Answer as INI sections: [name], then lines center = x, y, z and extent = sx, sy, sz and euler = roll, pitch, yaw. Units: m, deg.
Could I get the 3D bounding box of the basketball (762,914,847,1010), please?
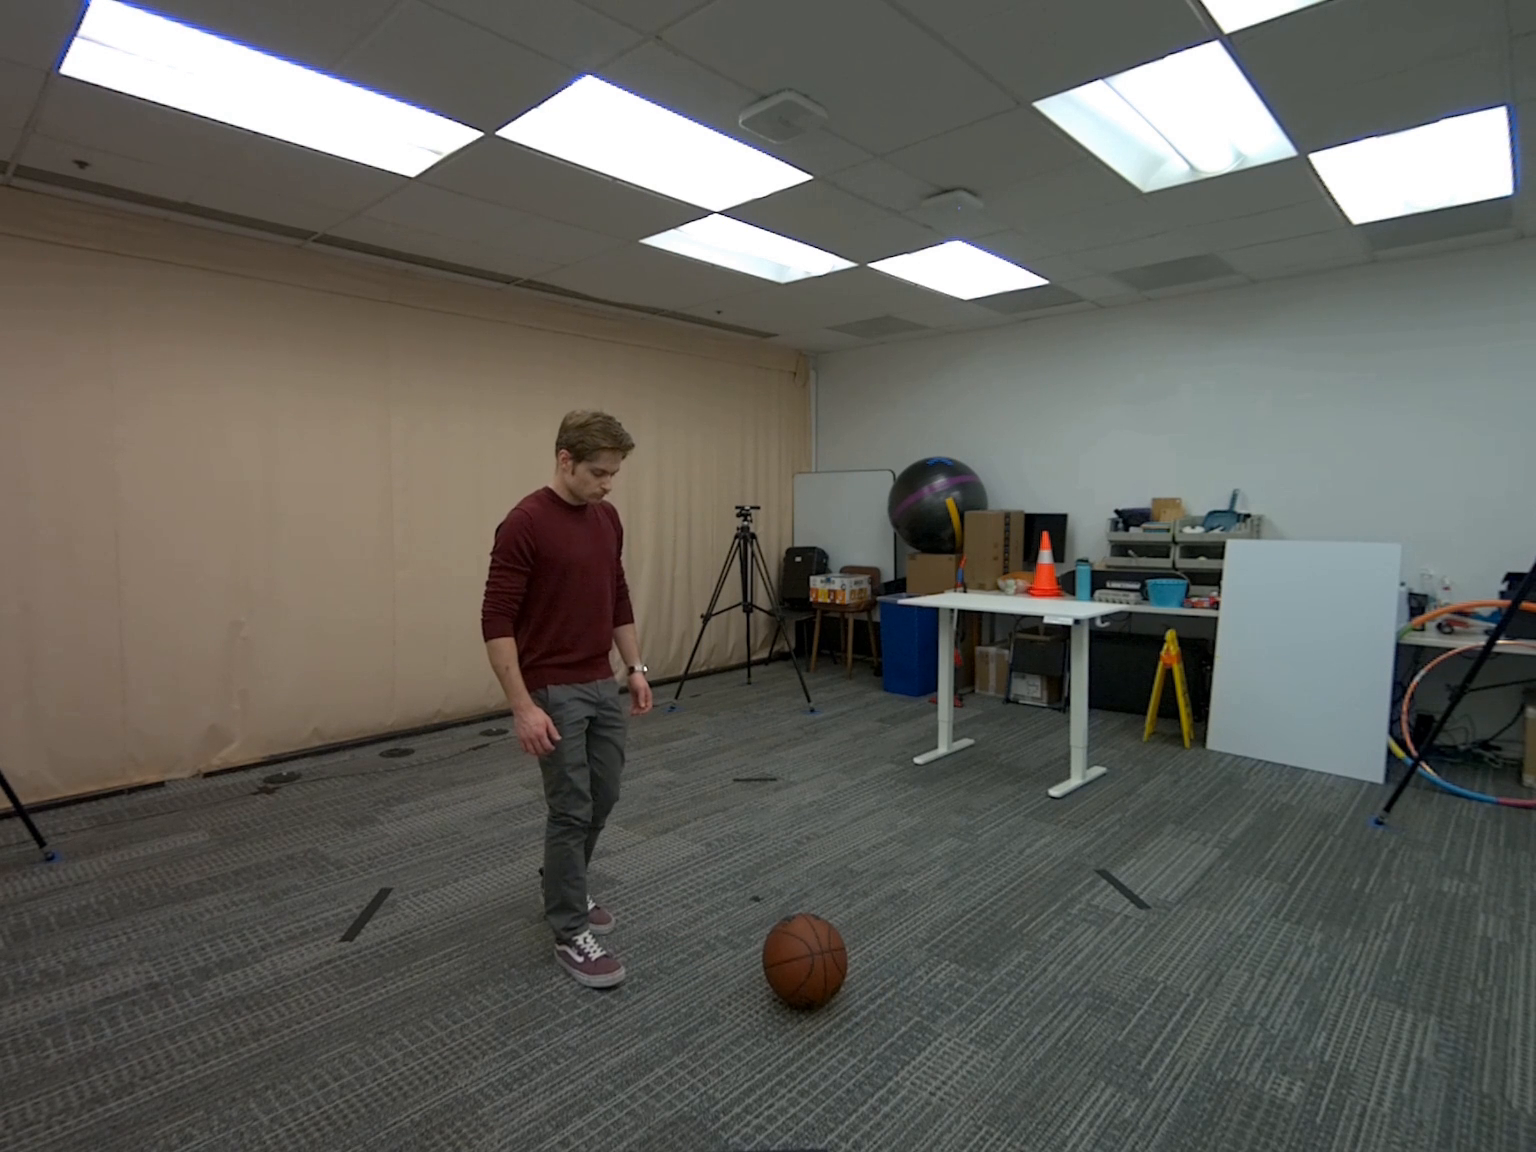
[basketball]
center = 0.107, 1.082, 2.355
extent = 0.236, 0.235, 0.237
euler = 0, 4, -2
